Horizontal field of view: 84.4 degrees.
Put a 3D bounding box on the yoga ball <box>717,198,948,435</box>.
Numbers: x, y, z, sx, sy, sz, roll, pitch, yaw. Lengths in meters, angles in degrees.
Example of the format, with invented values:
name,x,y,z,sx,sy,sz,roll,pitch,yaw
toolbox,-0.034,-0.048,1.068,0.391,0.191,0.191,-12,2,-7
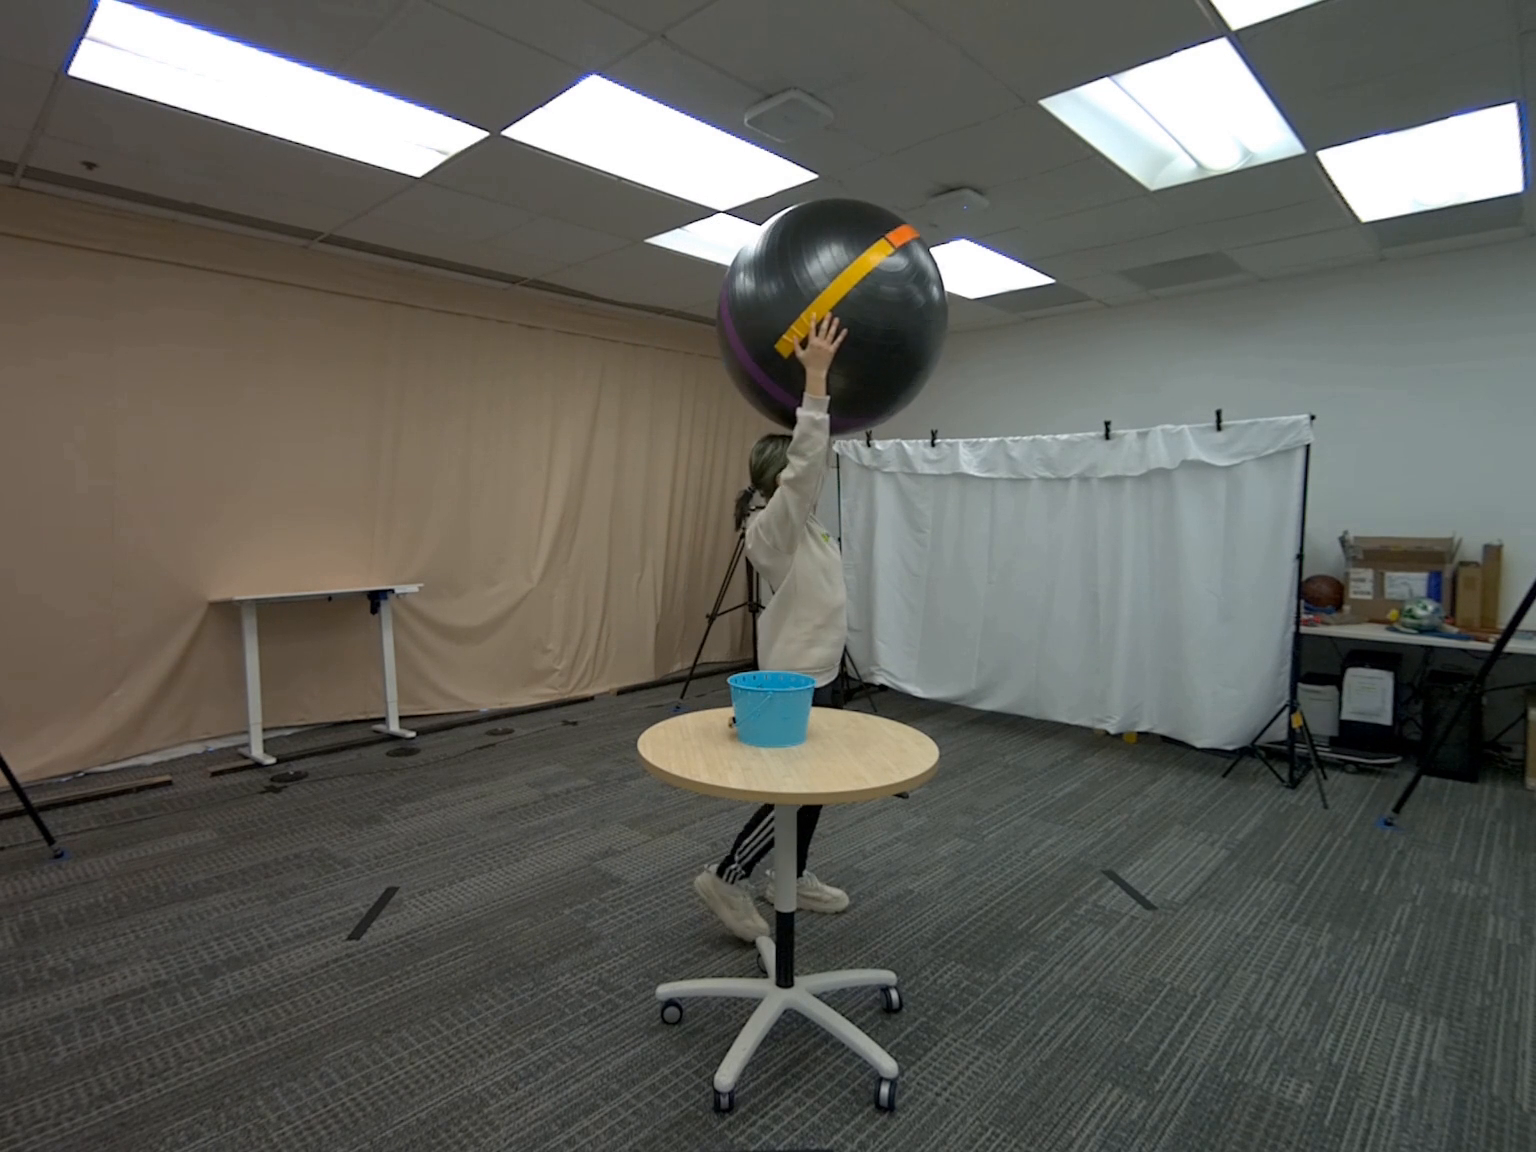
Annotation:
name,x,y,z,sx,sy,sz,roll,pitch,yaw
yoga ball,0.209,-0.843,2.785,0.757,0.756,0.761,0,4,-2
